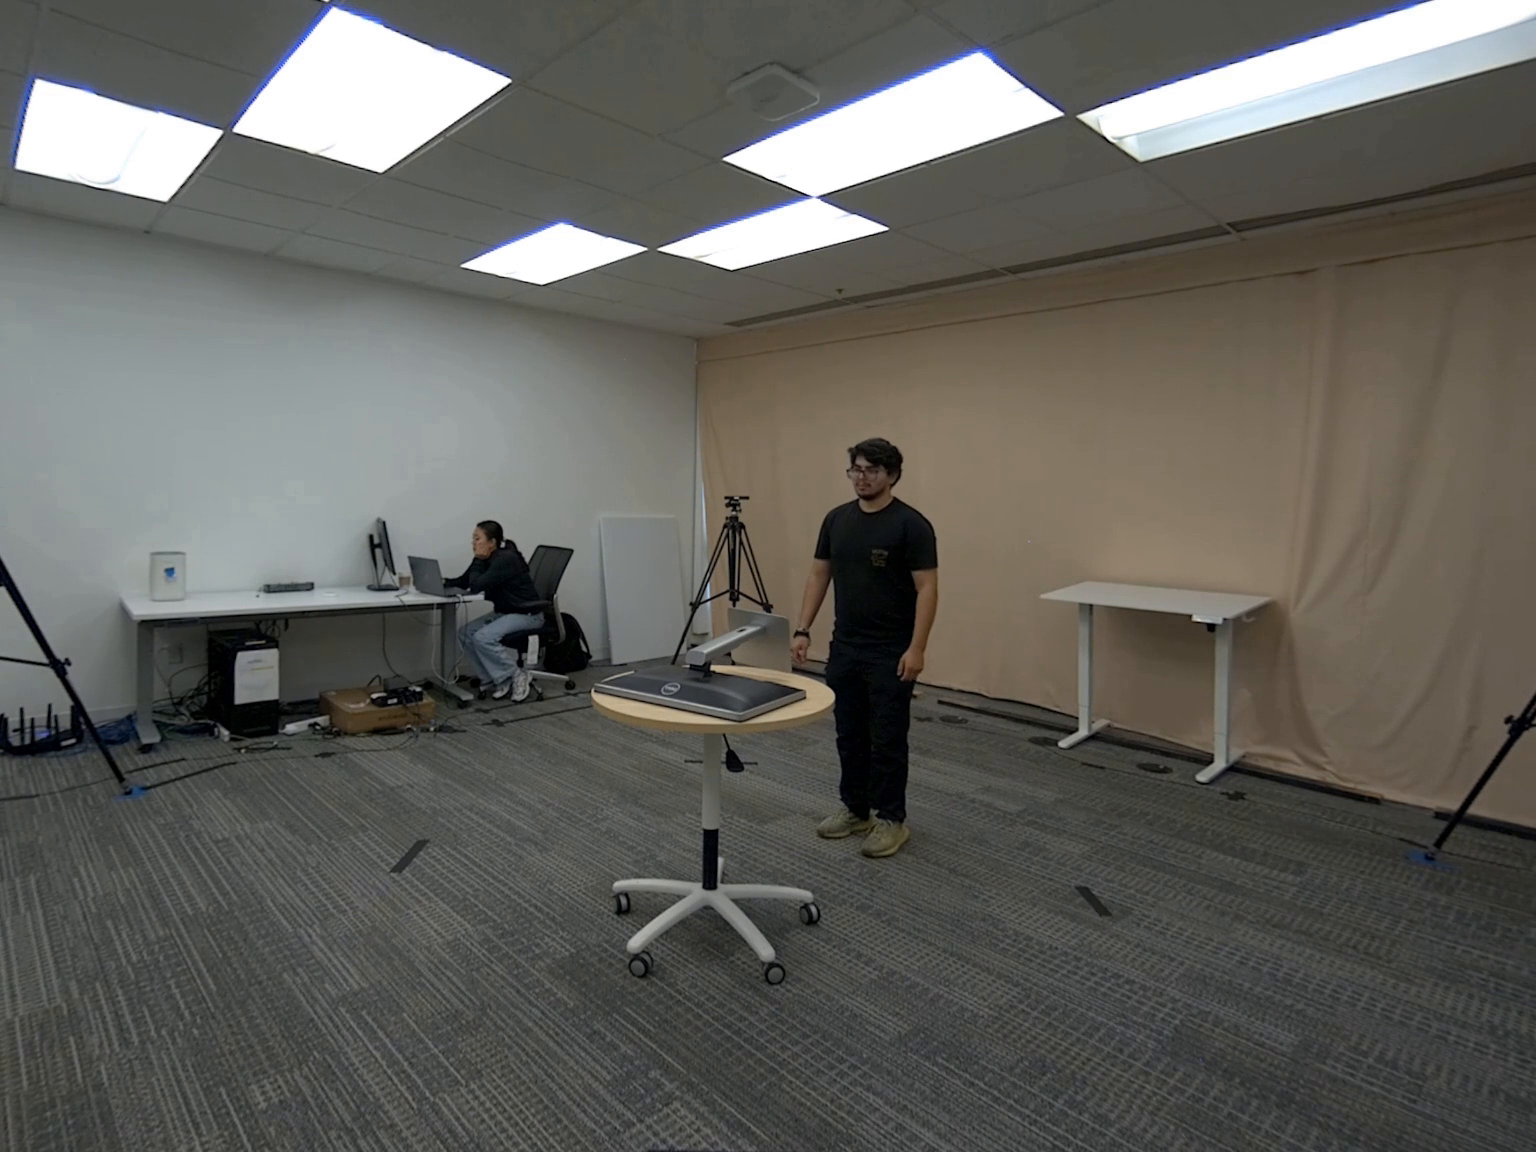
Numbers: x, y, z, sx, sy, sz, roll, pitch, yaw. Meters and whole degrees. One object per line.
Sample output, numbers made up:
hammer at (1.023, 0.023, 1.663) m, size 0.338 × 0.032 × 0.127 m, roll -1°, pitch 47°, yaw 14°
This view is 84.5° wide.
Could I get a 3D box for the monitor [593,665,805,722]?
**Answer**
monitor at (-0.177, 0.270, 2.660) m, size 0.579 × 0.208 × 0.545 m, roll 5°, pitch 13°, yaw 33°
